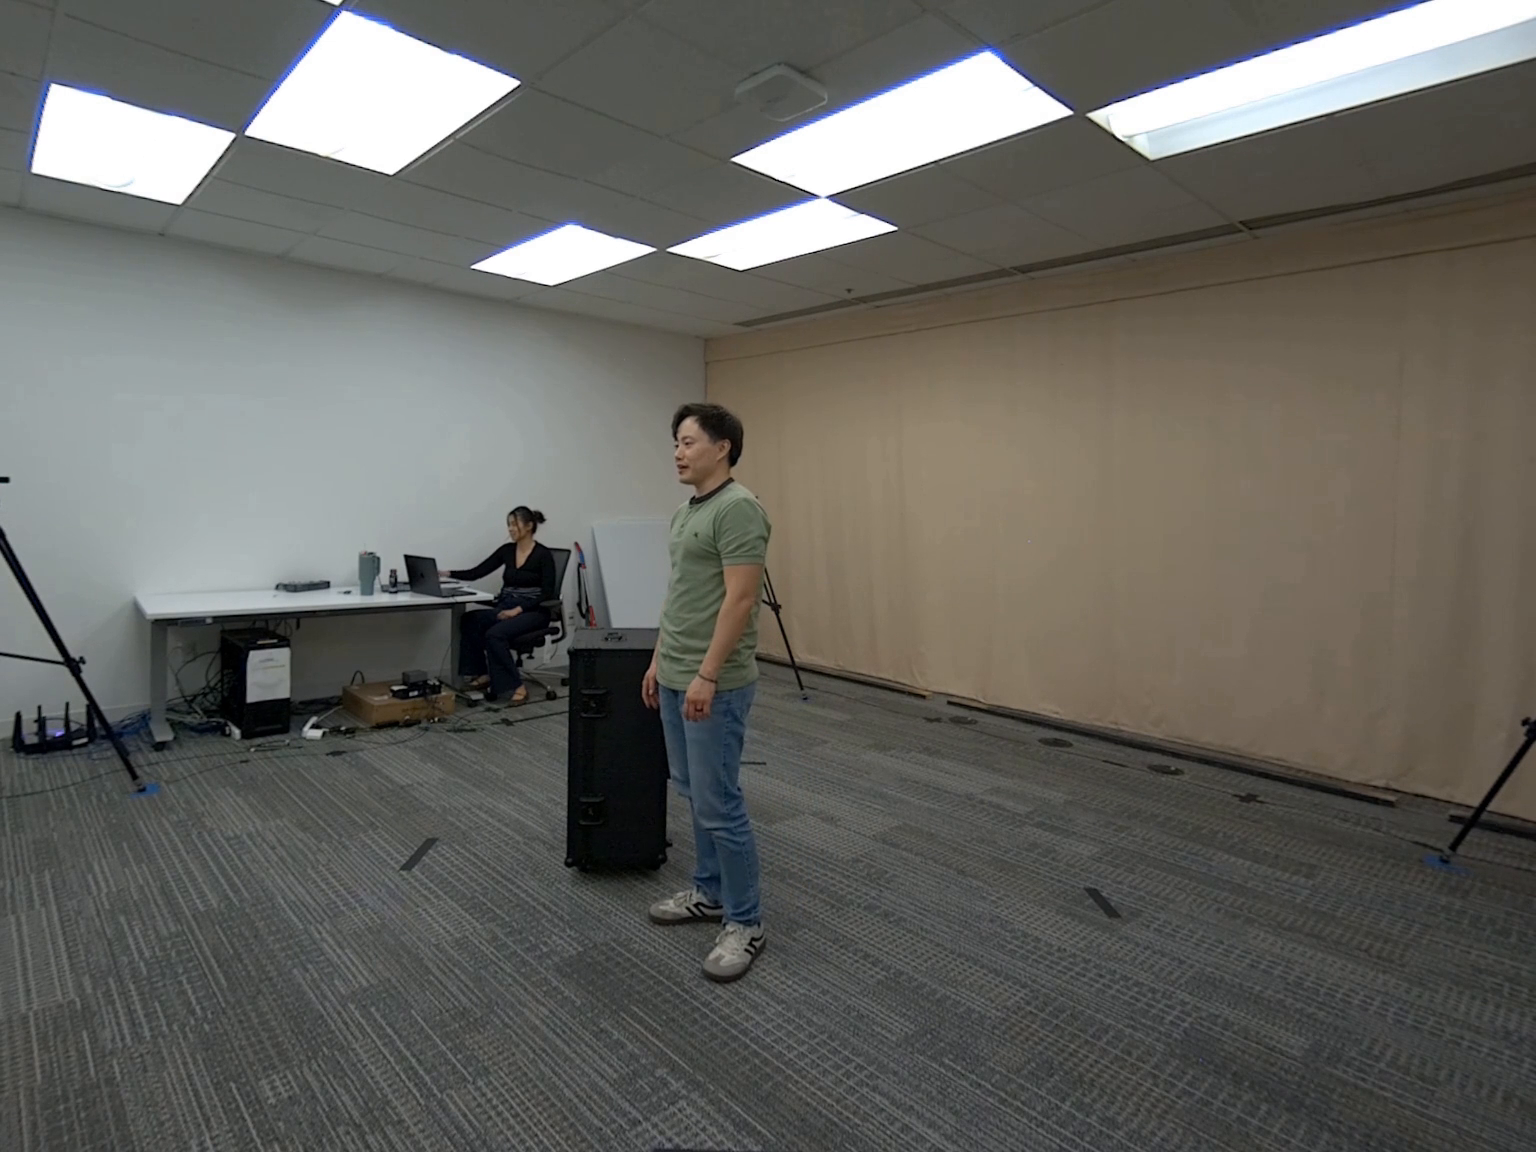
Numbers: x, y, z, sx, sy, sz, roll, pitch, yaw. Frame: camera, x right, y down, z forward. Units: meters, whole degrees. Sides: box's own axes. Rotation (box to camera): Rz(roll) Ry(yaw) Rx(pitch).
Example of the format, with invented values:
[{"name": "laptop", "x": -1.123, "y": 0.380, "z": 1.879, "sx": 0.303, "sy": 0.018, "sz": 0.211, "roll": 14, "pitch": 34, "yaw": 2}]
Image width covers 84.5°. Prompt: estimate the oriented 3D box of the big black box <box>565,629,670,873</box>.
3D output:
[{"name": "big black box", "x": -0.568, "y": 0.598, "z": 3.209, "sx": 0.393, "sy": 0.859, "sz": 0.526, "roll": 1, "pitch": 4, "yaw": -9}]
